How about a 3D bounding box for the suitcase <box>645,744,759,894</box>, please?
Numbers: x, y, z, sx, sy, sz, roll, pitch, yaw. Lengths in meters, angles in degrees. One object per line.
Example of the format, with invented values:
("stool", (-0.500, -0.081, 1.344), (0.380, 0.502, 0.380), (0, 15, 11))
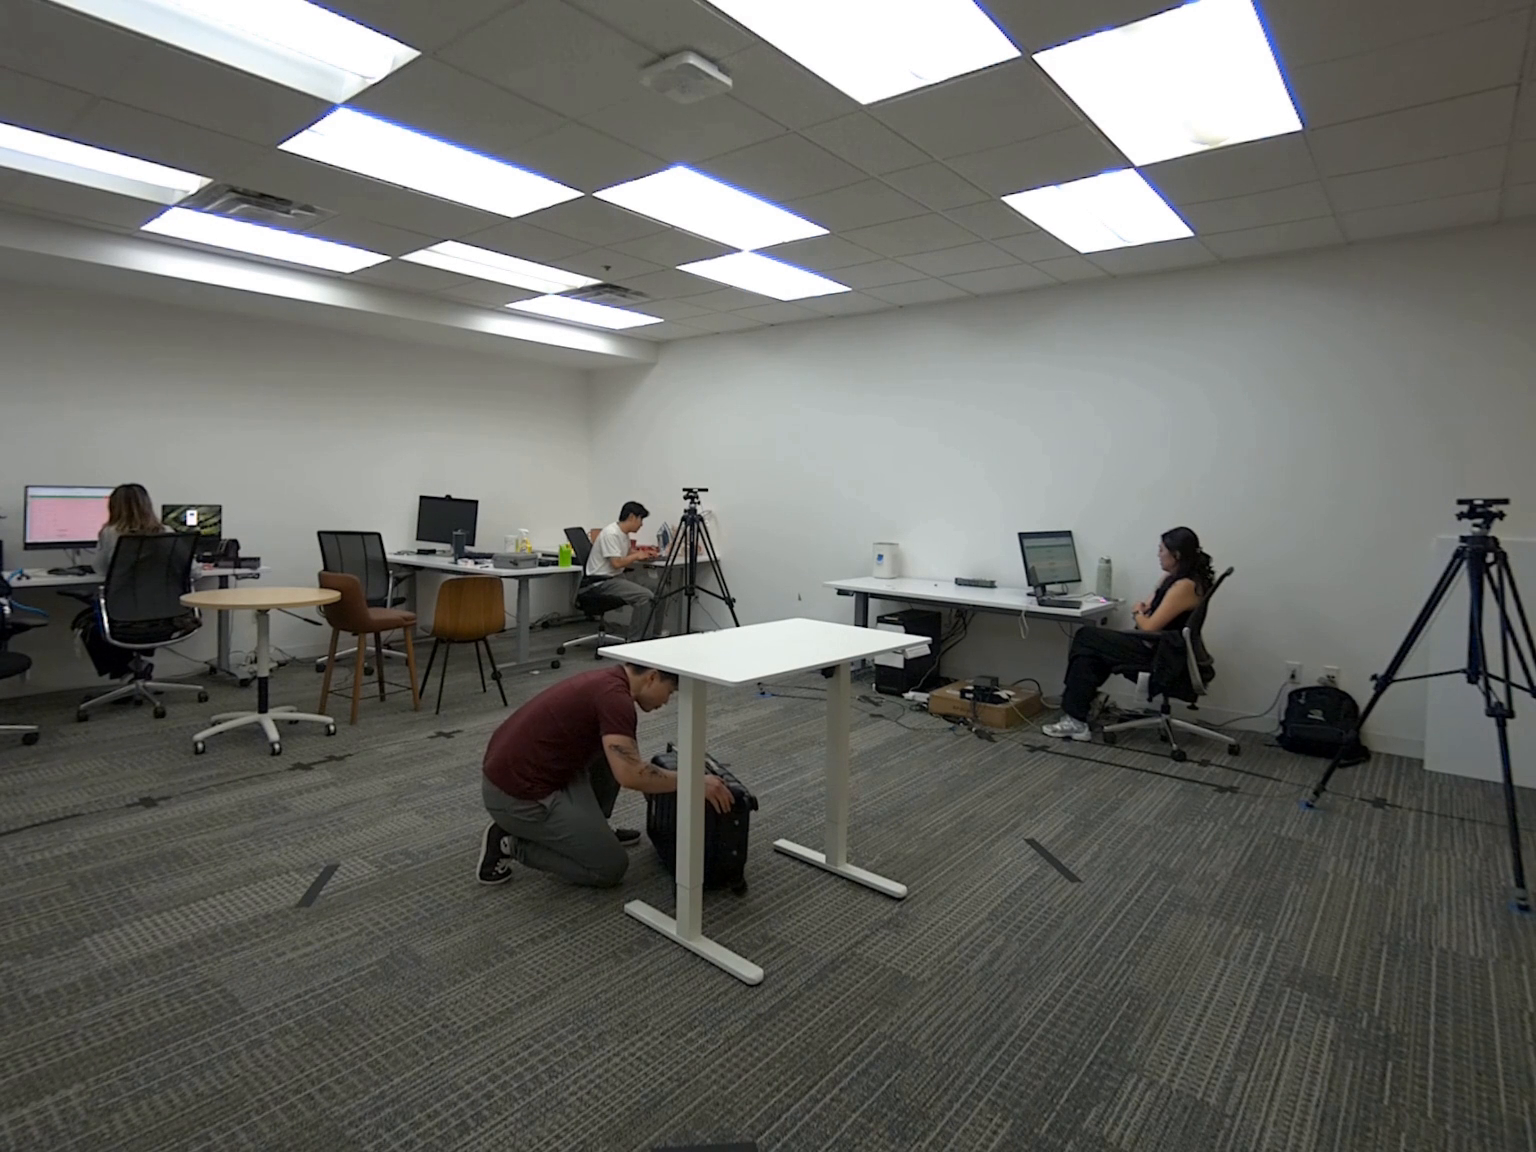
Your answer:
("suitcase", (-0.366, 0.851, 3.311), (0.251, 0.383, 1.006), (3, 5, -24))
